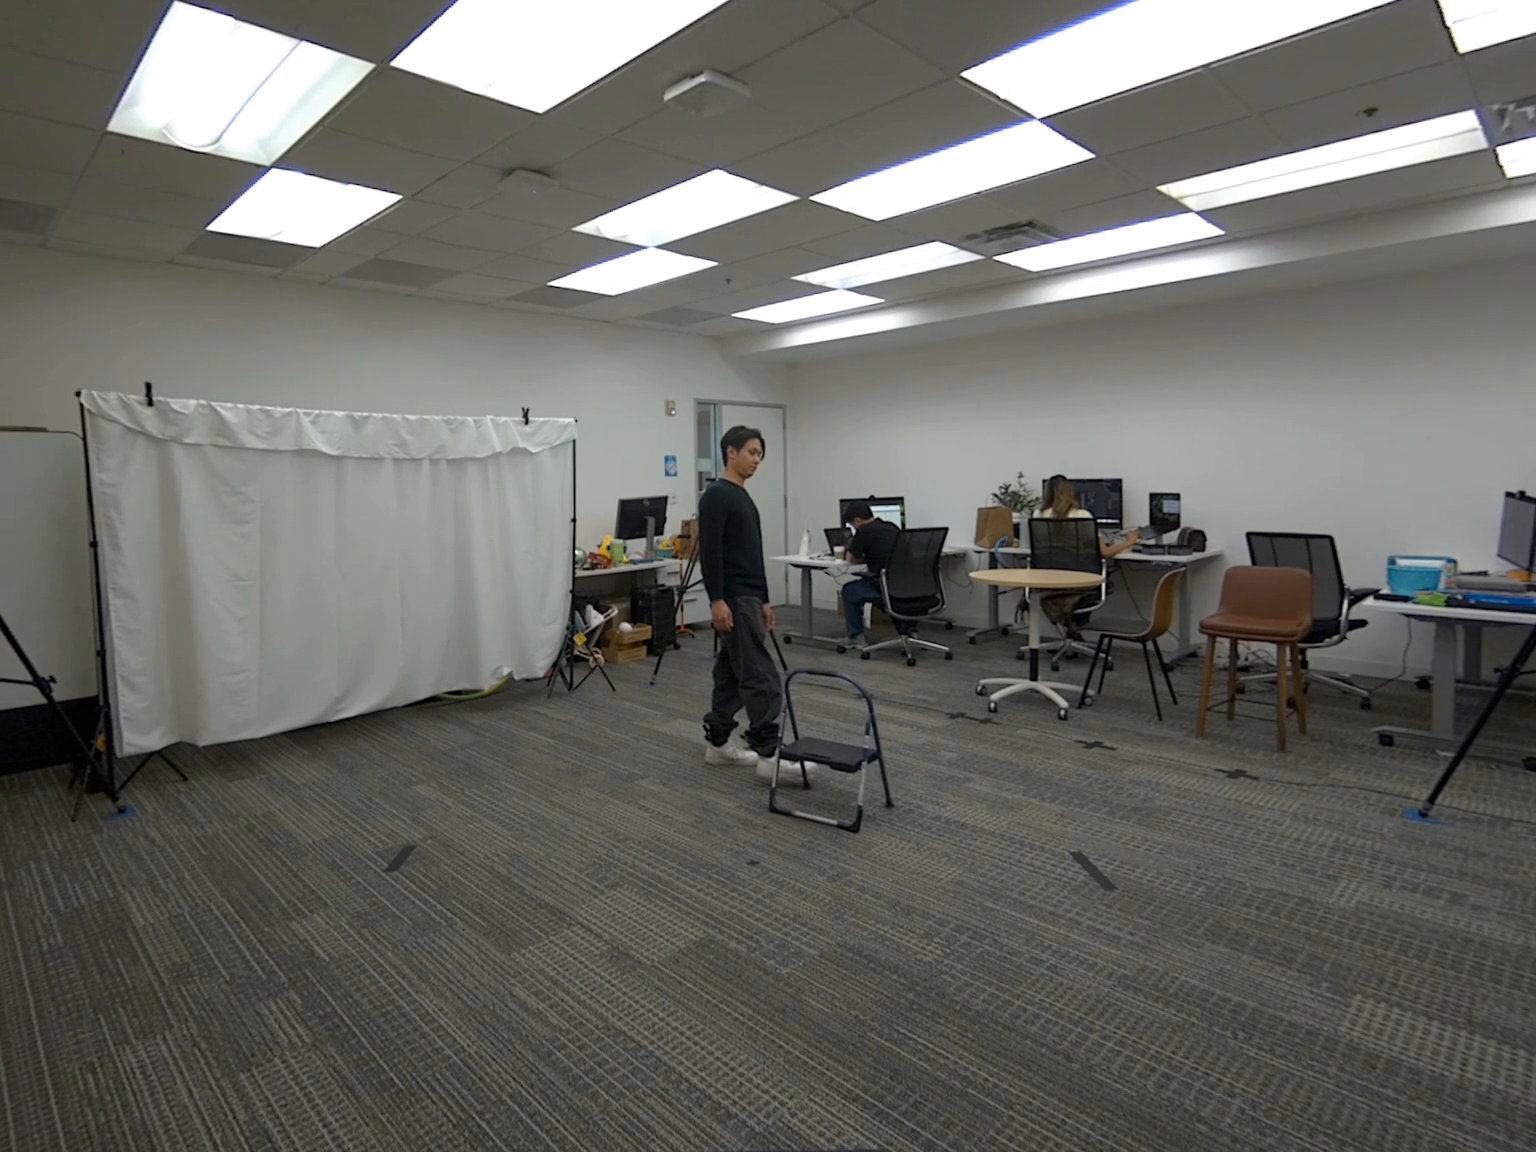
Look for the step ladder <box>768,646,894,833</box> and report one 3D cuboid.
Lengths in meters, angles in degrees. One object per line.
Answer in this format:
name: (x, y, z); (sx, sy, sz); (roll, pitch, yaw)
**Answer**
step ladder: (0.263, 0.679, 3.585); (0.442, 0.604, 0.341); (2, 4, 33)
